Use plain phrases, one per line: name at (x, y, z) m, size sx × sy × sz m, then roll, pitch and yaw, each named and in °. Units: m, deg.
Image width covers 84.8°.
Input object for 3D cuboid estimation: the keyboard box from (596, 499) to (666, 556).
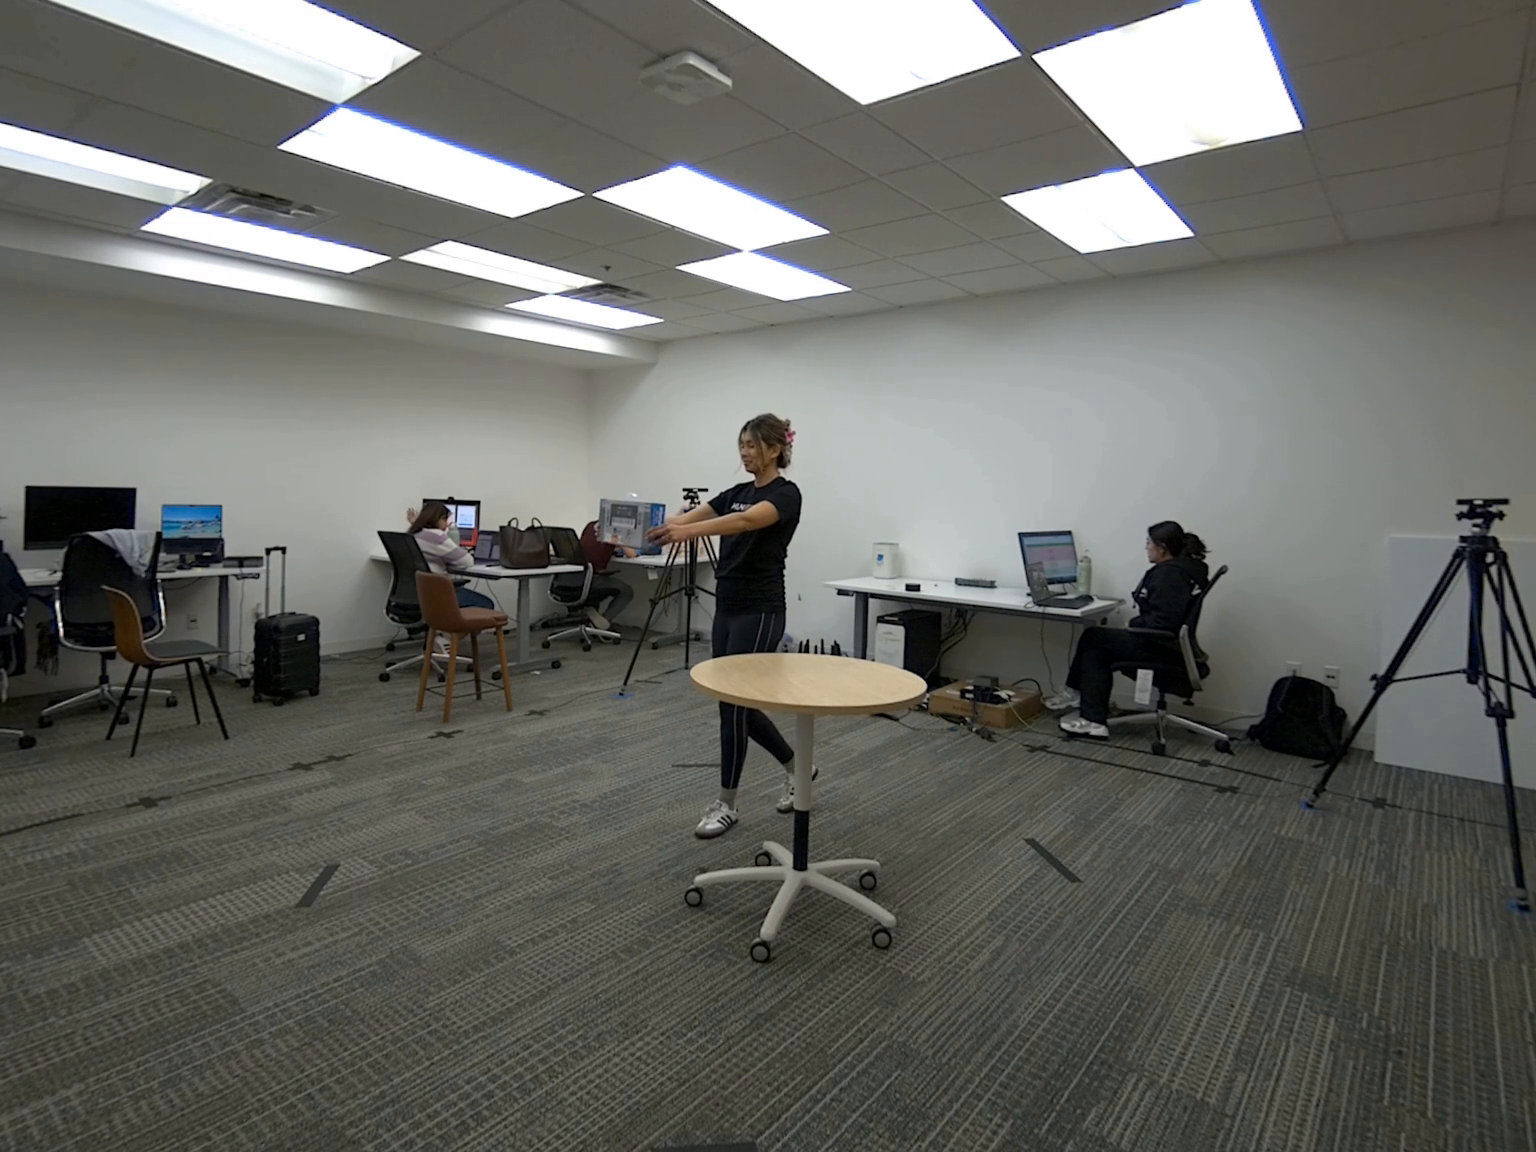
keyboard box at (-0.536, -0.198, 3.232) m, size 0.057 × 0.175 × 0.452 m, roll 4°, pitch 4°, yaw -36°
